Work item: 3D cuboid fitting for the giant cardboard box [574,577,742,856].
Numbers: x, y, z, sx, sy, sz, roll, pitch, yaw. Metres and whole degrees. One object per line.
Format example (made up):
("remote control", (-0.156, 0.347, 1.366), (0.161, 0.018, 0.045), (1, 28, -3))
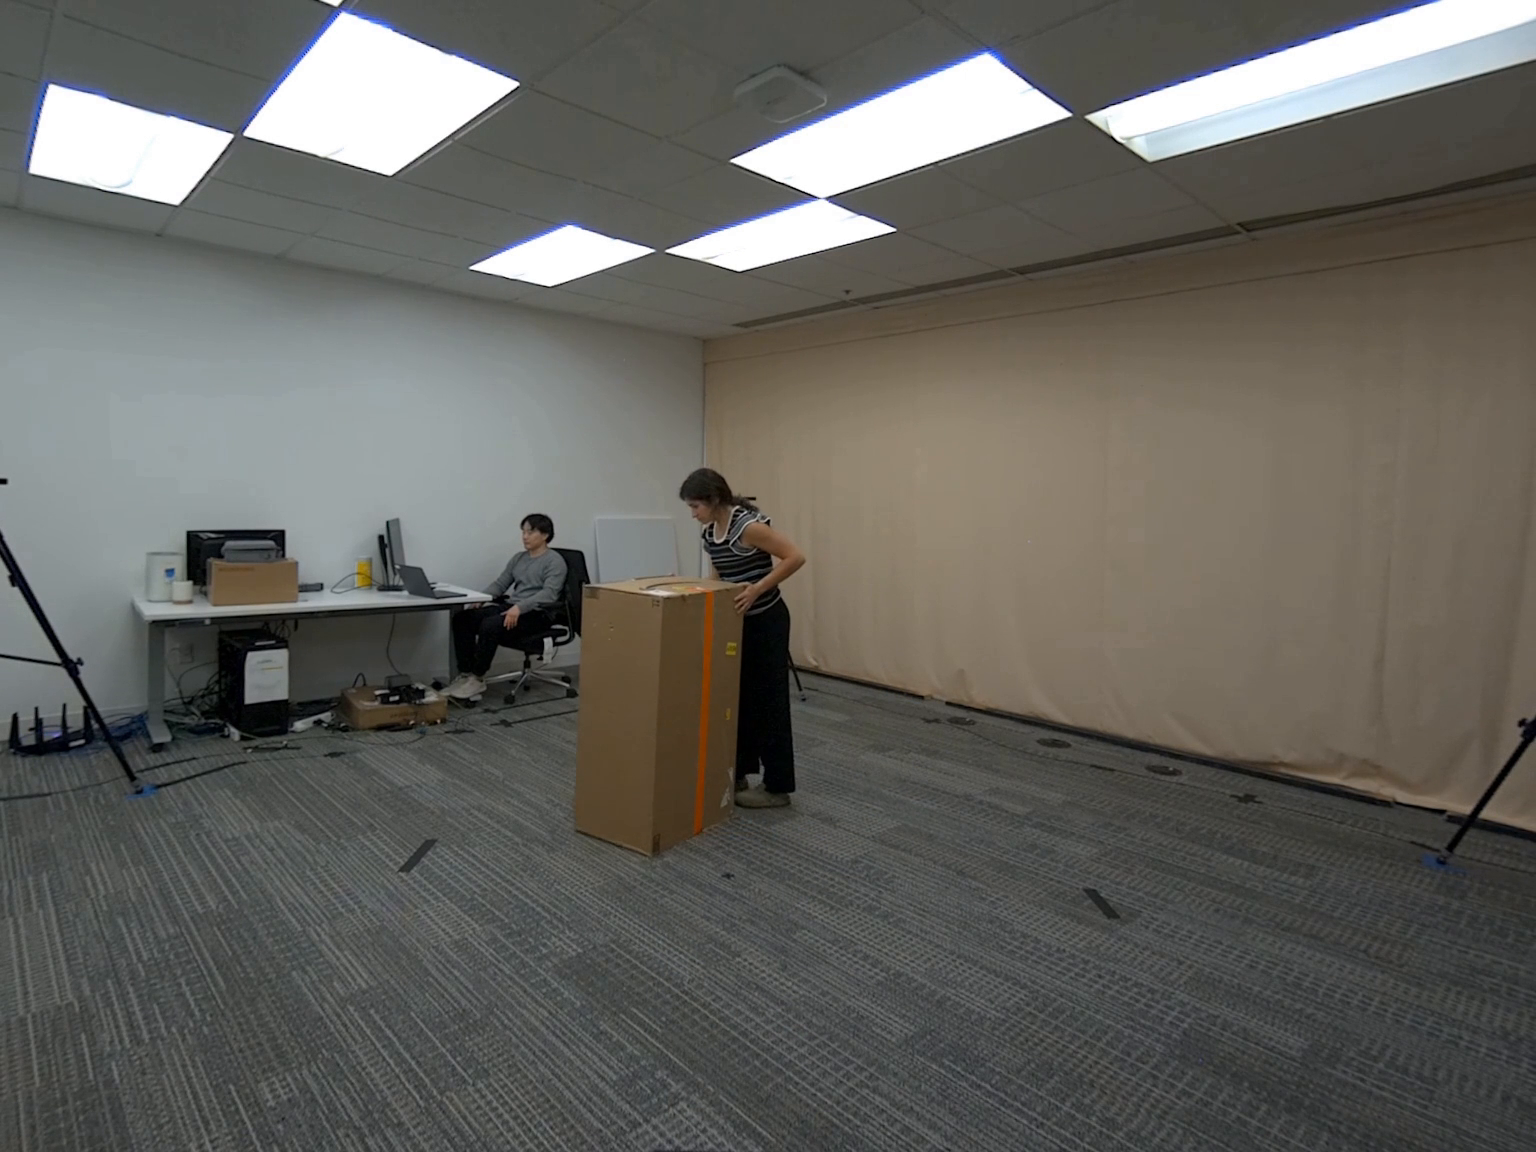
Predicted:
("giant cardboard box", (-0.464, 0.550, 3.567), (0.436, 1.023, 0.565), (6, 5, 33))
